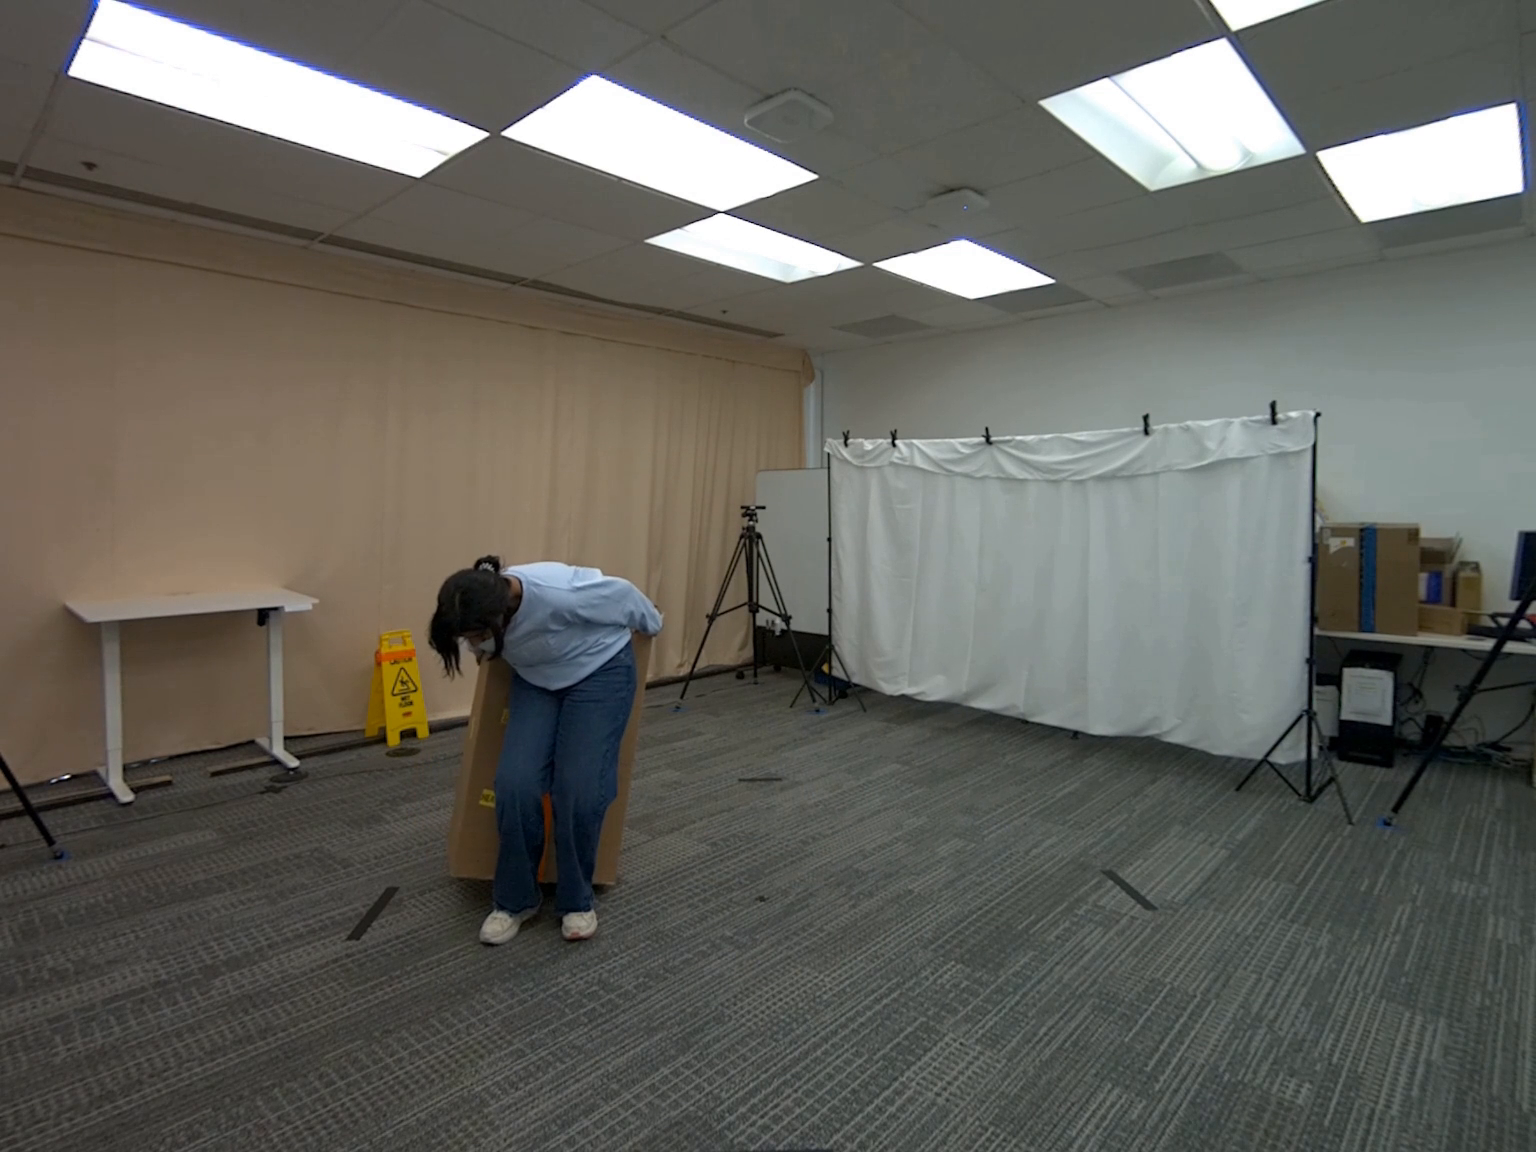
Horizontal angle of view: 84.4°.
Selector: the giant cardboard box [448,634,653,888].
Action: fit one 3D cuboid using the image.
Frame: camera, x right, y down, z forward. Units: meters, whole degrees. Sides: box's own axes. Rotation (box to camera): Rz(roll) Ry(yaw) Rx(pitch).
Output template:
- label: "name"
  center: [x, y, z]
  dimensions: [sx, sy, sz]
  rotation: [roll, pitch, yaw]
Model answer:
- label: "giant cardboard box"
  center: [-0.821, 0.574, 3.184]
  dimensions: [0.565, 1.029, 0.434]
  rotation: [10, -7, -19]
